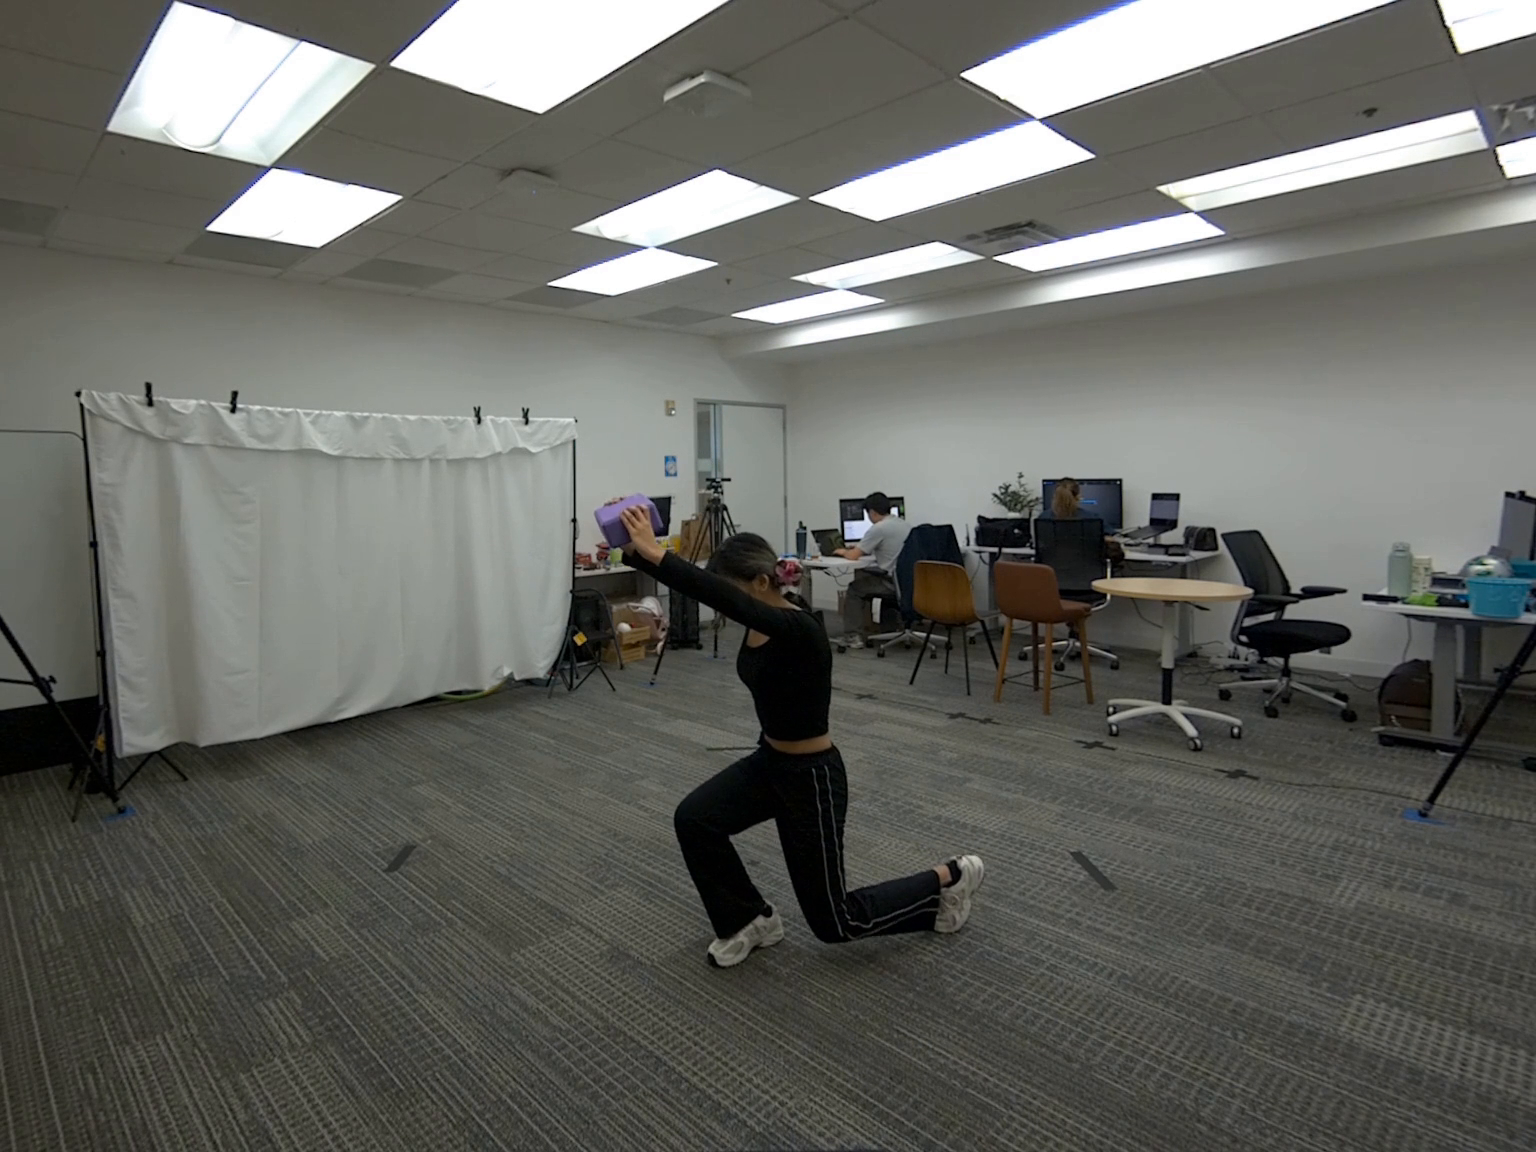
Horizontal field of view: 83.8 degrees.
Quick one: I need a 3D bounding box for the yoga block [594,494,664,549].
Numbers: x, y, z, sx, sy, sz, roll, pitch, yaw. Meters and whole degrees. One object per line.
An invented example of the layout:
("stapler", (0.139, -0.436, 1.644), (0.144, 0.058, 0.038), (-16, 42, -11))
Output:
("yoga block", (-0.376, -0.163, 2.296), (0.148, 0.075, 0.235), (-23, 18, -9))
